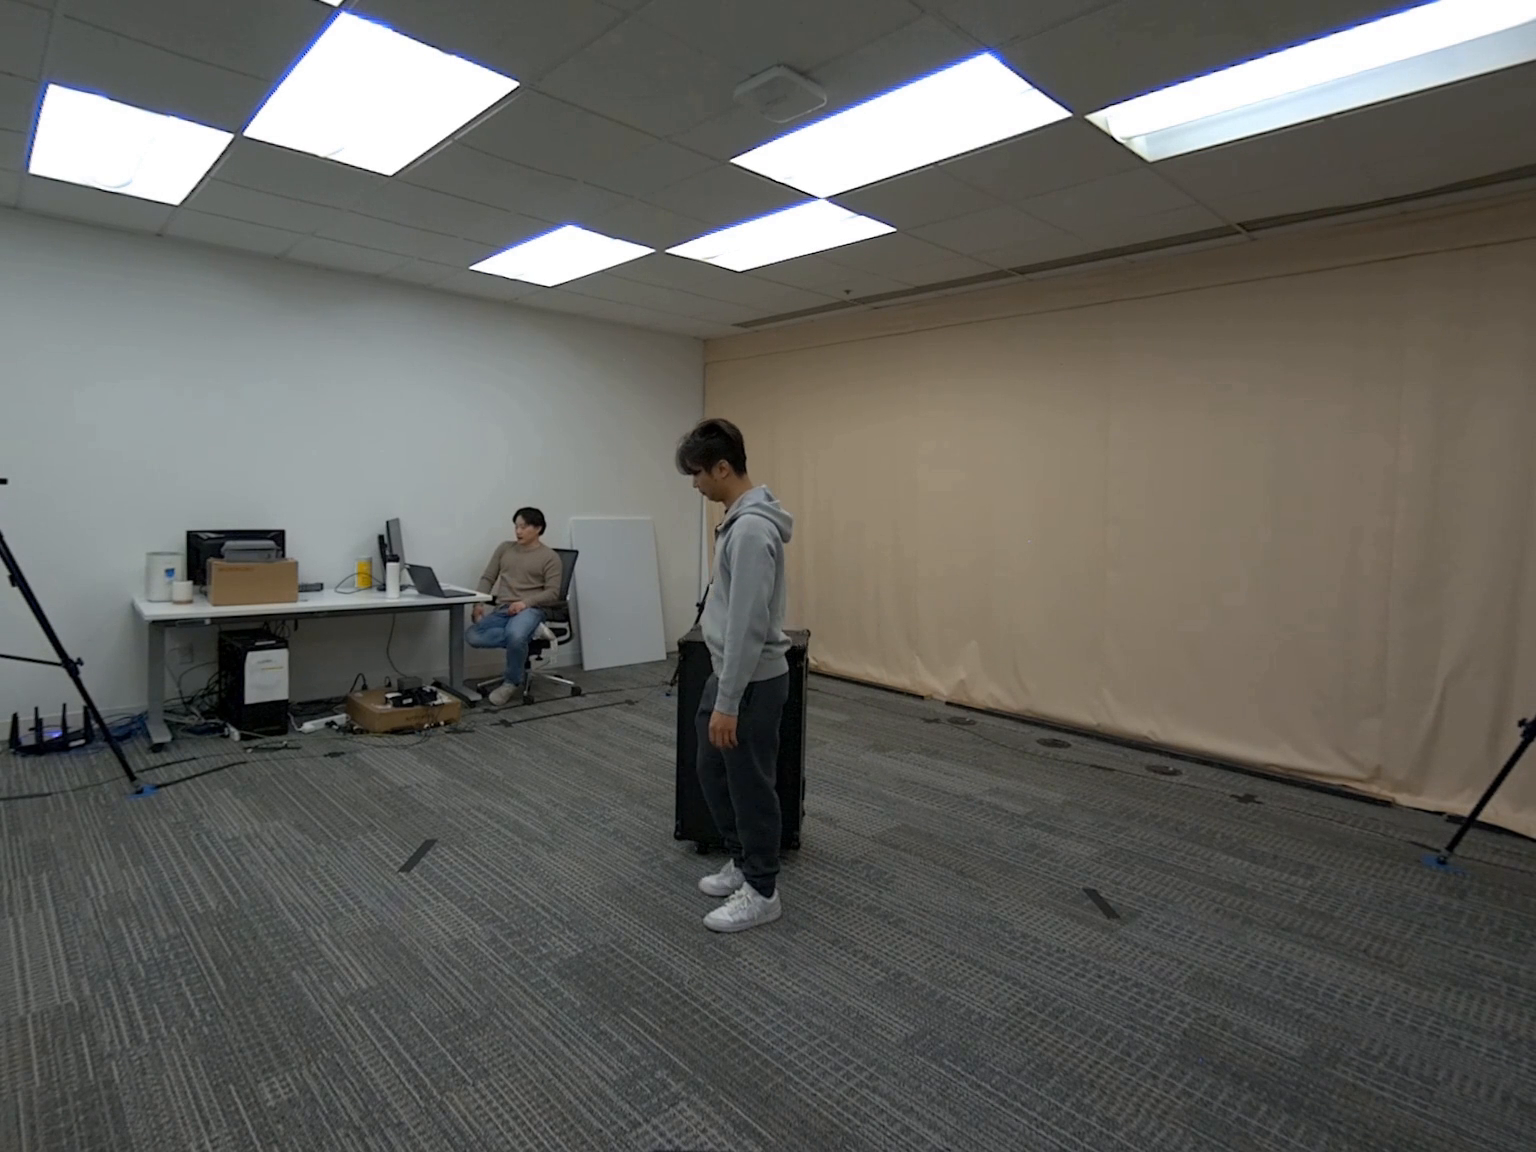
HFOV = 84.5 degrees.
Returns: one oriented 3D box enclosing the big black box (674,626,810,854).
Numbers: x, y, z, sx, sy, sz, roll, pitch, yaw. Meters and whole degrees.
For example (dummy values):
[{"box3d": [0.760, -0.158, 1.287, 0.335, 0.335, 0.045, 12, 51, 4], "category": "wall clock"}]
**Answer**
[{"box3d": [-0.099, 0.660, 3.356, 0.524, 0.859, 0.395, 3, 5, 7], "category": "big black box"}]
